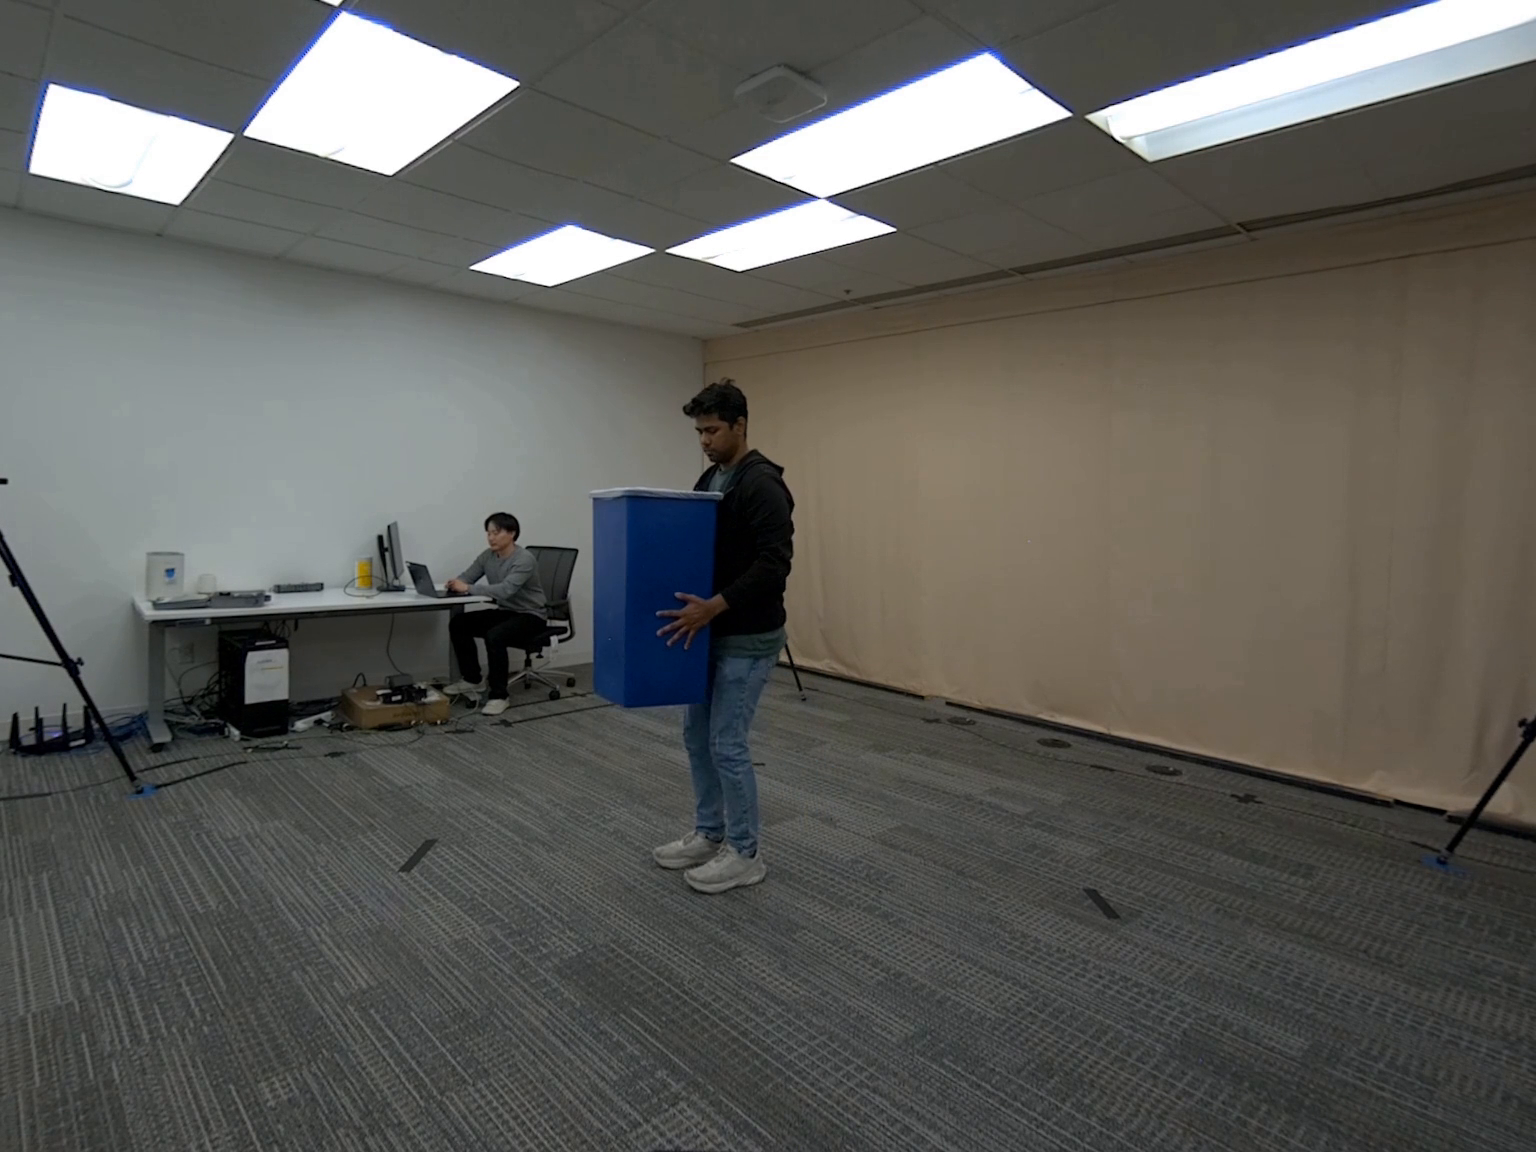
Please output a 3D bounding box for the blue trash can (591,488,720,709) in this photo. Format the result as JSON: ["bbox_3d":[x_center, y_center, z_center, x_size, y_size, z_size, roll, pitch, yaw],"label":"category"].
[{"bbox_3d":[-0.415,0.067,2.915,0.366,0.714,0.386,2,0,-31],"label":"blue trash can"}]
